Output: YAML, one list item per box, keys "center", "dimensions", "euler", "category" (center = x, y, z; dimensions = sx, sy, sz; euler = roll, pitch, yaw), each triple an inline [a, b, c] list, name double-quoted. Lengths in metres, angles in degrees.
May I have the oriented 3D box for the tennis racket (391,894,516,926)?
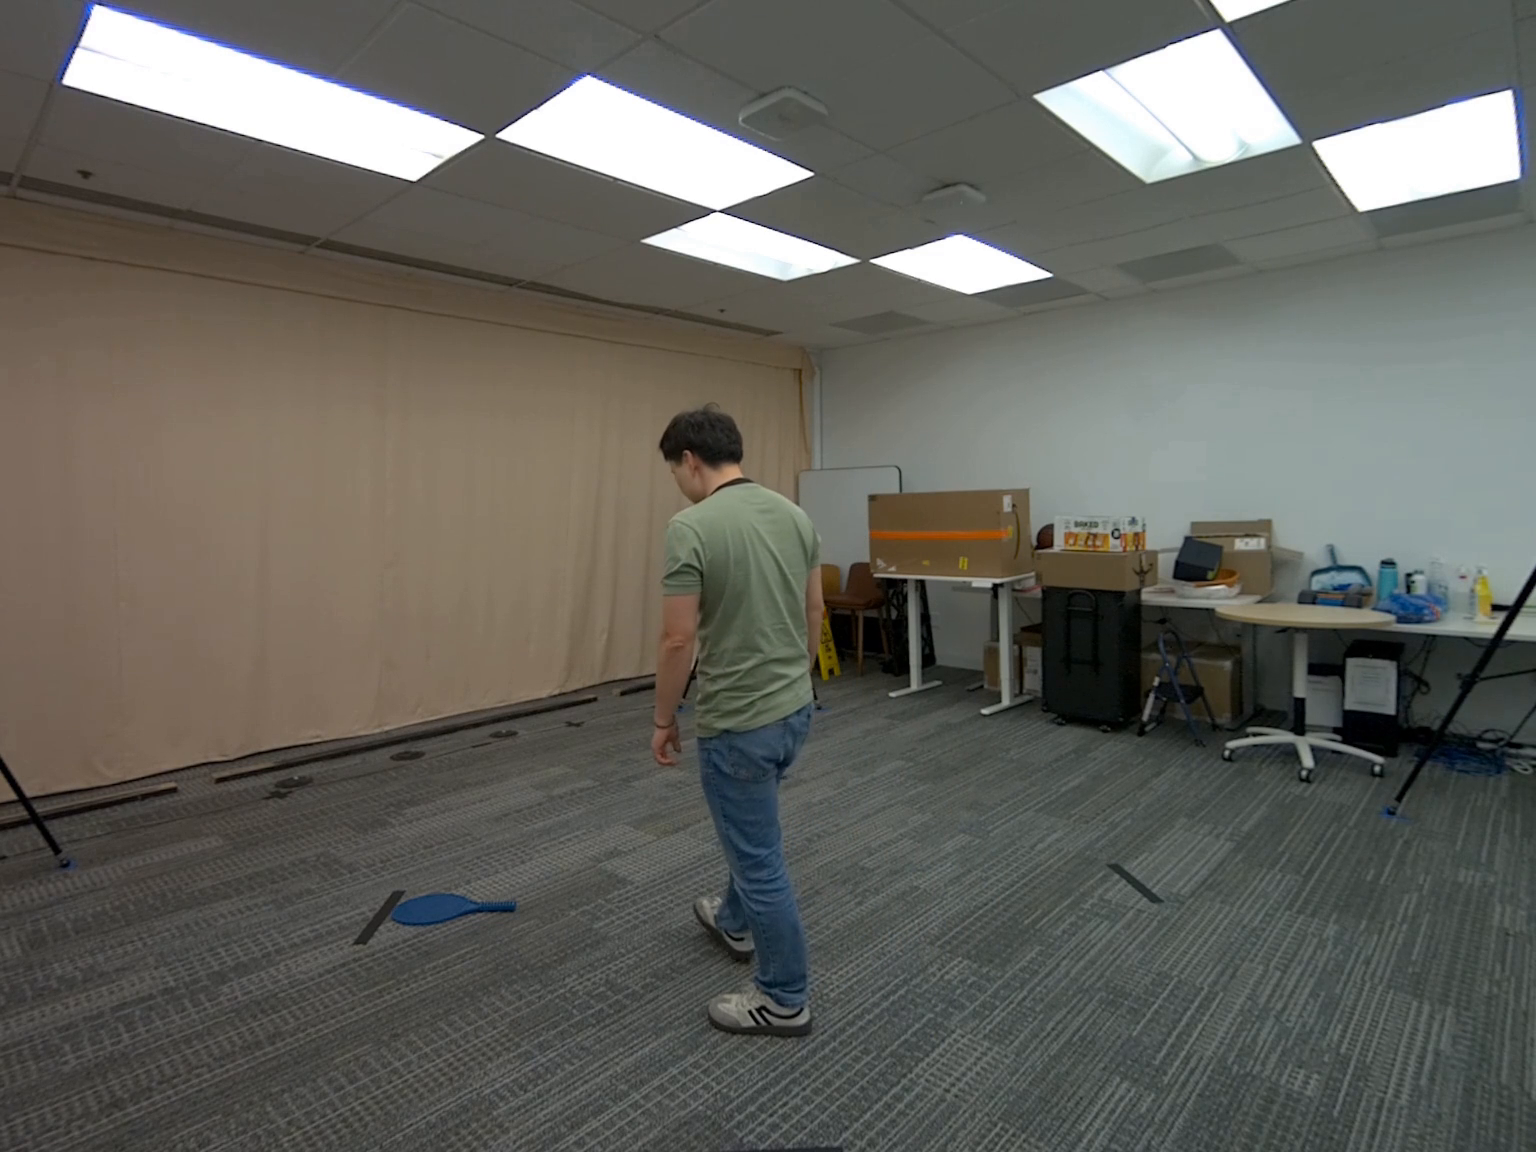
- center: [-1.090, 1.158, 2.930]
  dimensions: [0.435, 0.032, 0.213]
  euler: [-2, 4, 3]
  category: "tennis racket"
